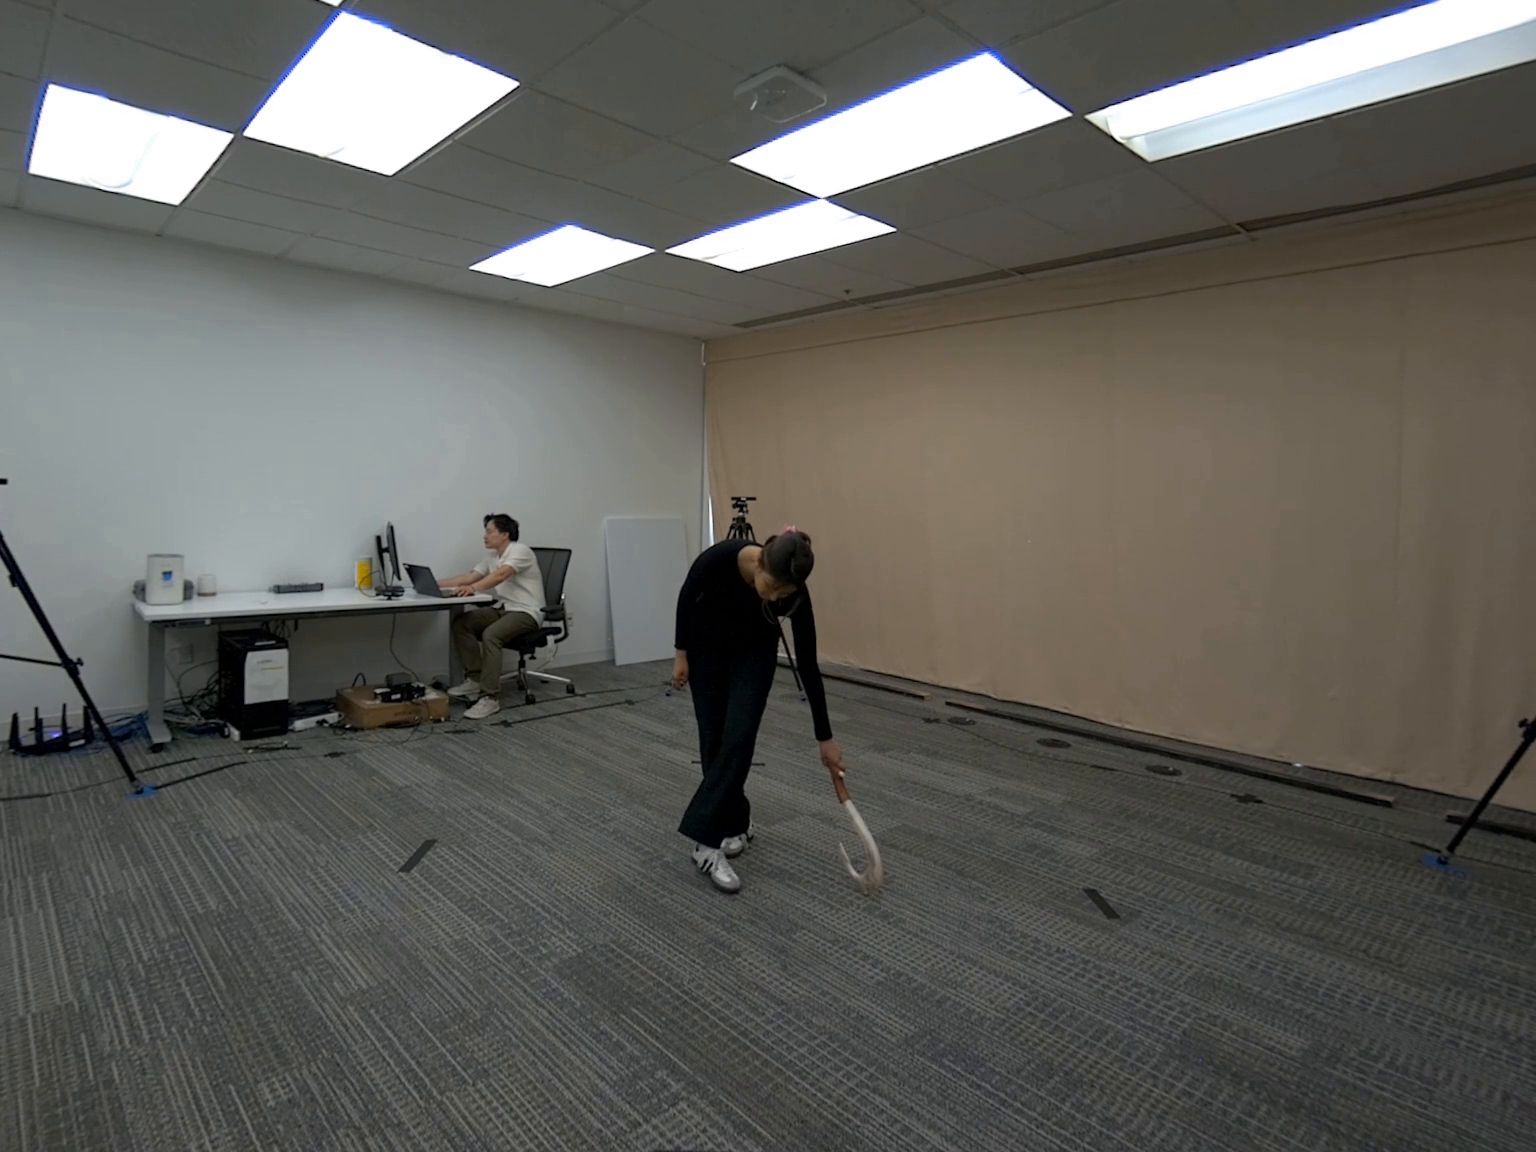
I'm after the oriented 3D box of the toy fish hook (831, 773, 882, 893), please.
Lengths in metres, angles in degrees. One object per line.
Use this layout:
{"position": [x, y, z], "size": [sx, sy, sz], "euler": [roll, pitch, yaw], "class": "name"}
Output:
{"position": [0.276, 0.893, 3.078], "size": [0.047, 0.519, 0.223], "euler": [0, -35, -32], "class": "toy fish hook"}
